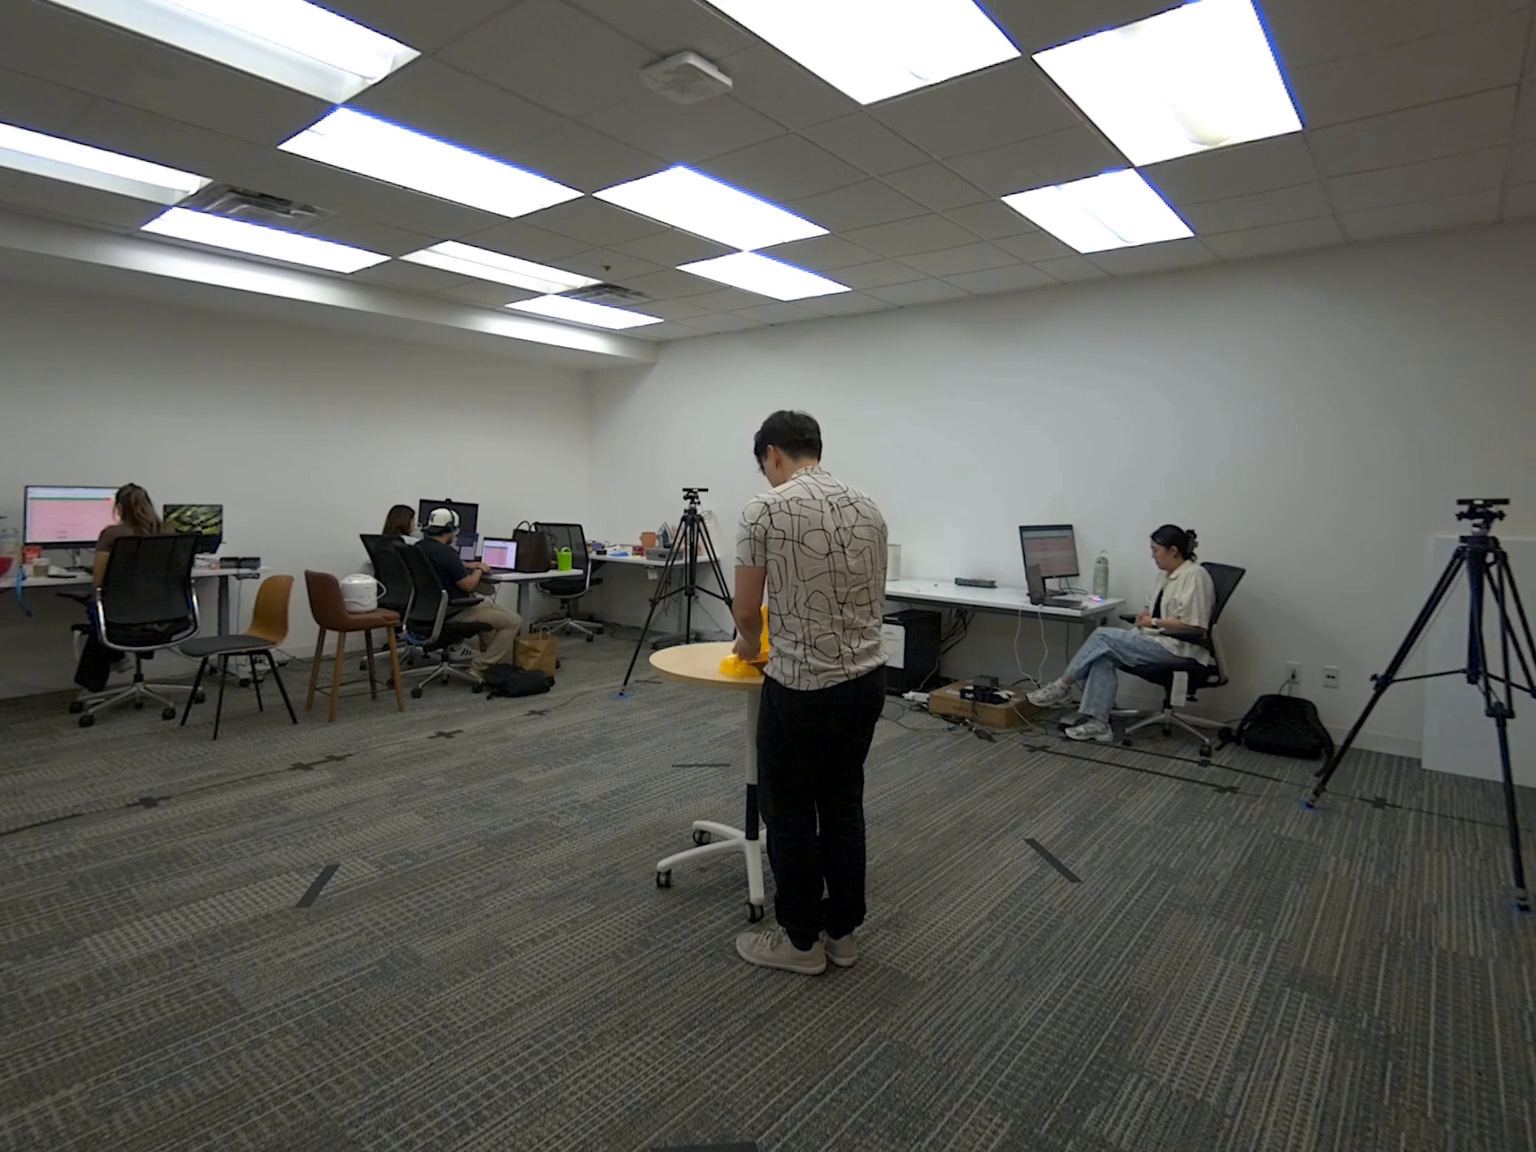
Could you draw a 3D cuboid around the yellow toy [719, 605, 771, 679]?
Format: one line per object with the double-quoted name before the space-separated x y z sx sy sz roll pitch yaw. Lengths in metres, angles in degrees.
"yellow toy" -0.063 0.200 2.825 0.198 0.230 0.199 -1 4 -41
